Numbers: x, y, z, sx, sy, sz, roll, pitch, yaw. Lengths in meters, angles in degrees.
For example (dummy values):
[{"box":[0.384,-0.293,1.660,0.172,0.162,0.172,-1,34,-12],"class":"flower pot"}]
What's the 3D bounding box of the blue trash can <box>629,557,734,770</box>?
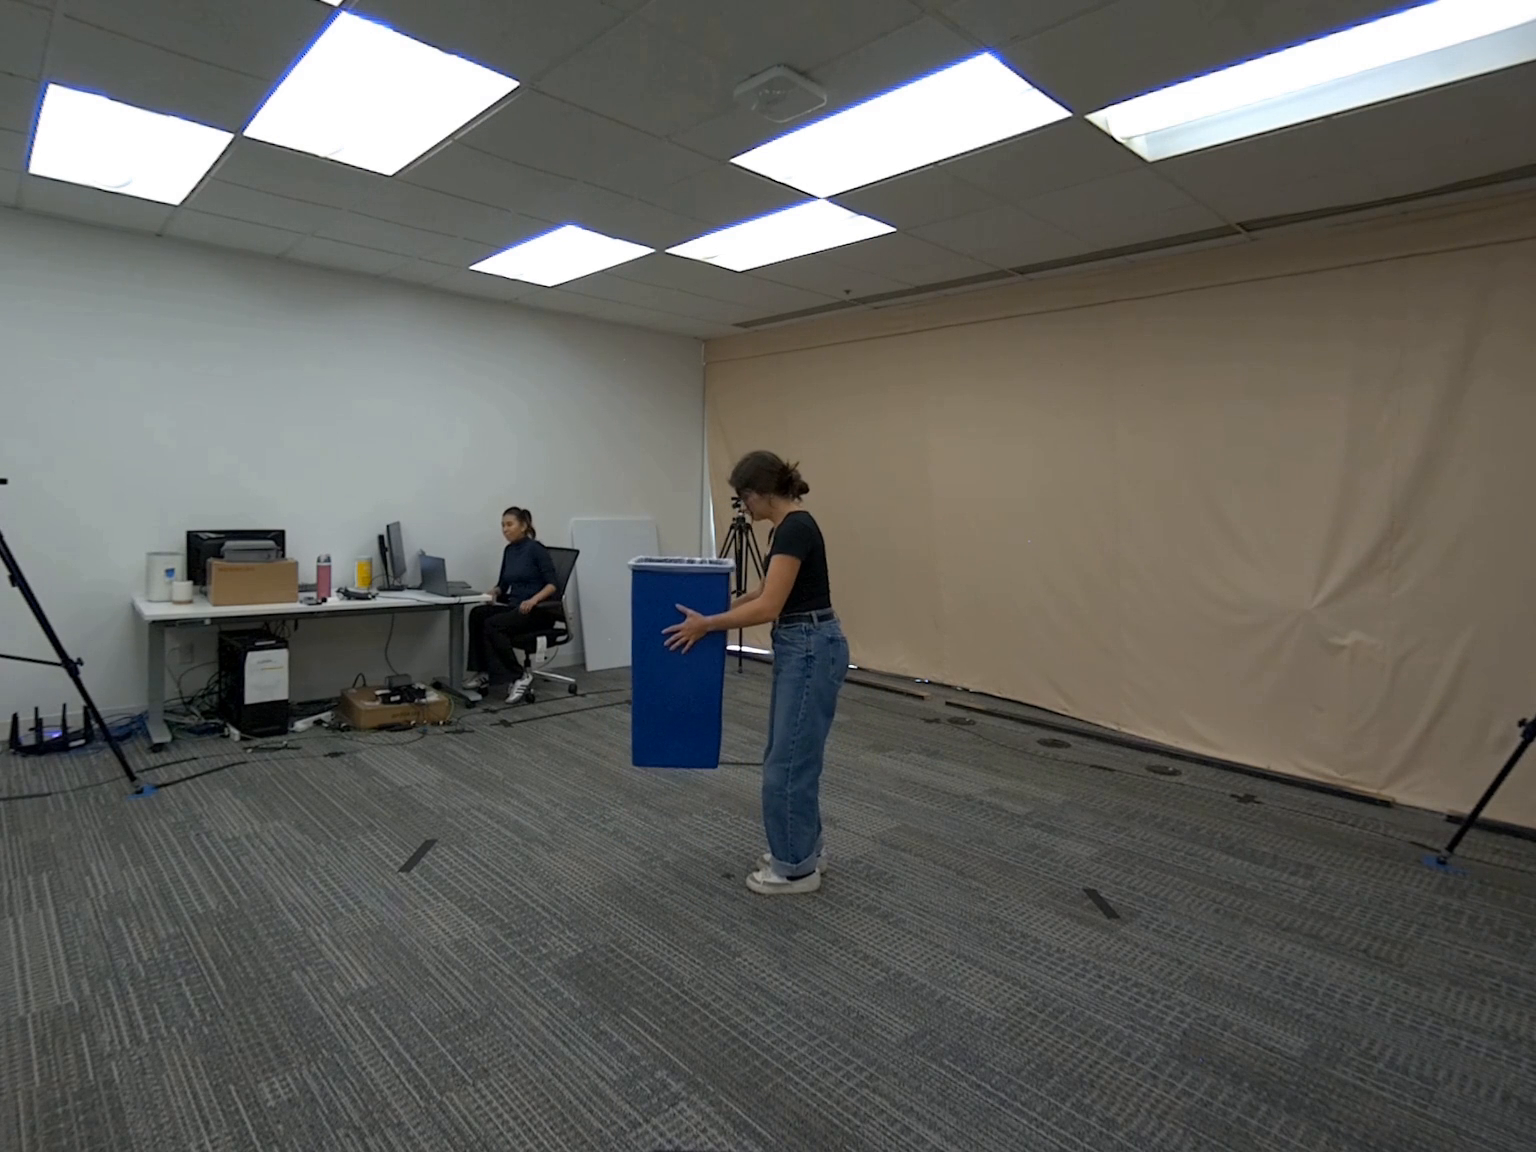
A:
[{"box":[-0.322,0.308,3.053,0.377,0.713,0.375,1,2,-2],"class":"blue trash can"}]
